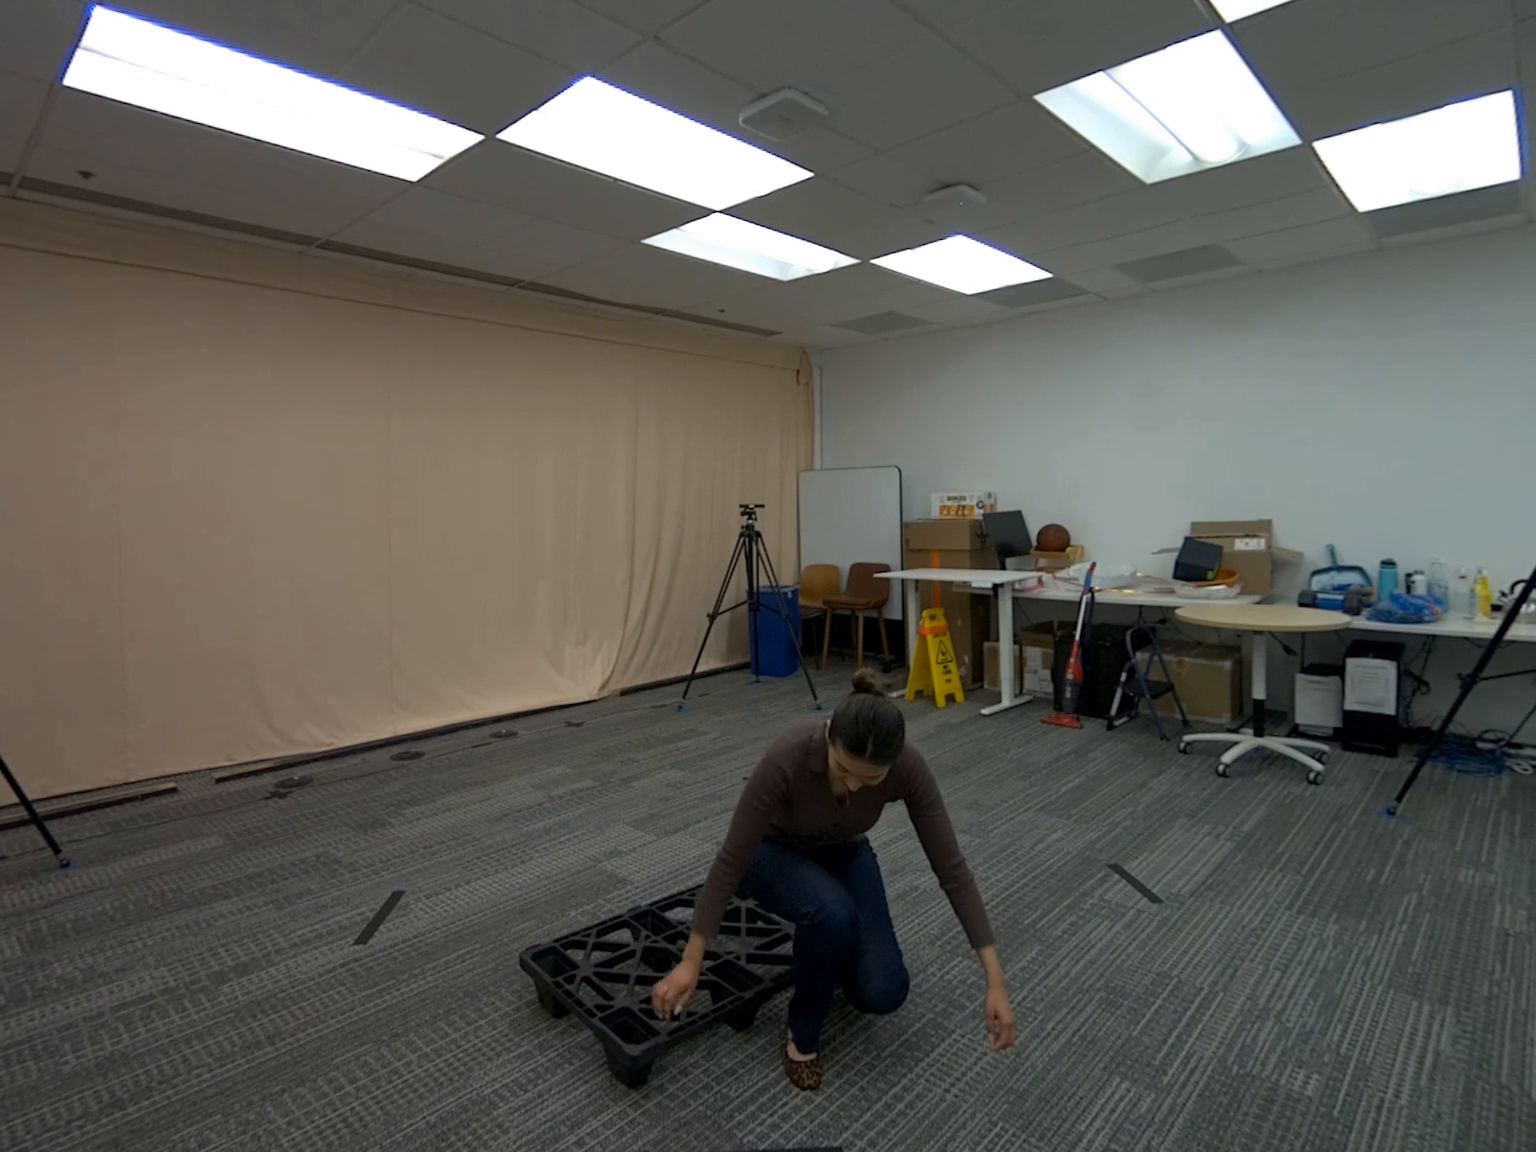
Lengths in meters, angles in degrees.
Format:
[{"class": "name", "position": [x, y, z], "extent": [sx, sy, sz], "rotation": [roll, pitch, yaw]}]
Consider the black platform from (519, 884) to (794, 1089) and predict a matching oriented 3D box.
[{"class": "black platform", "position": [-0.221, 1.126, 2.415], "extent": [0.781, 0.143, 0.625], "rotation": [-4, 5, -41]}]
